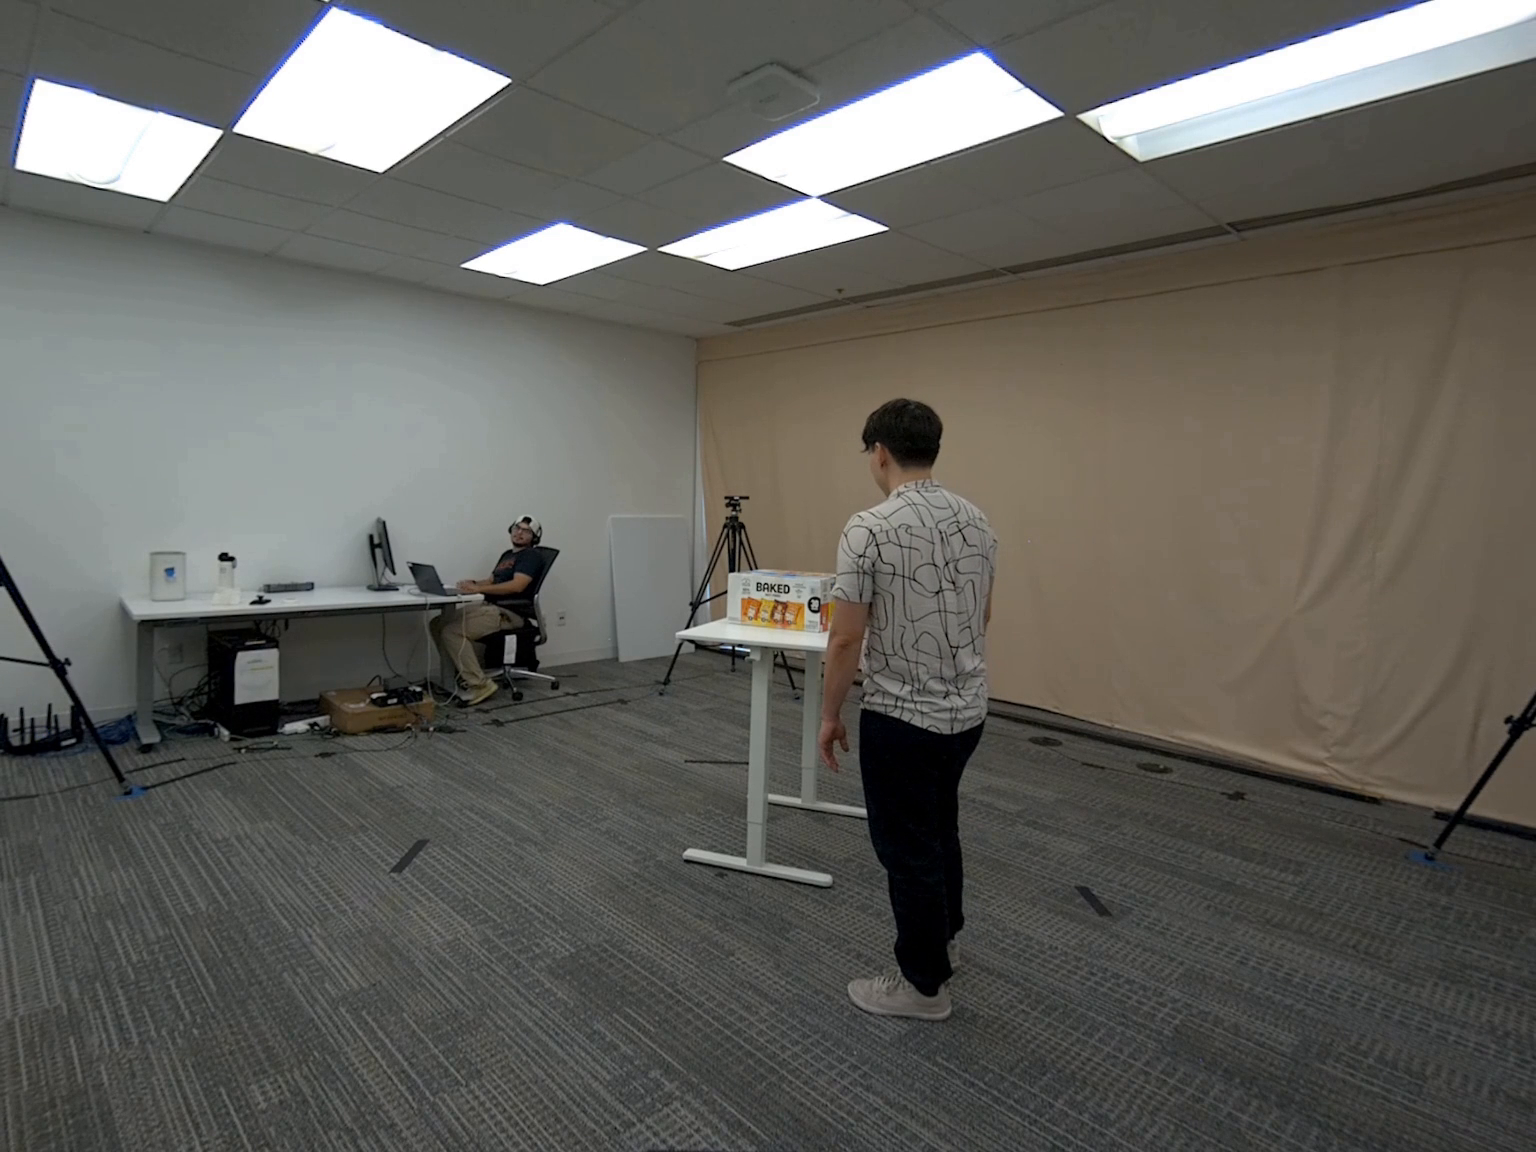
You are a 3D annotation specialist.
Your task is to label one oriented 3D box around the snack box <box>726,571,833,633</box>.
[{"bbox_3d":[0.088,0.095,3.451,0.413,0.205,0.334,4,4,27],"label":"snack box"}]
